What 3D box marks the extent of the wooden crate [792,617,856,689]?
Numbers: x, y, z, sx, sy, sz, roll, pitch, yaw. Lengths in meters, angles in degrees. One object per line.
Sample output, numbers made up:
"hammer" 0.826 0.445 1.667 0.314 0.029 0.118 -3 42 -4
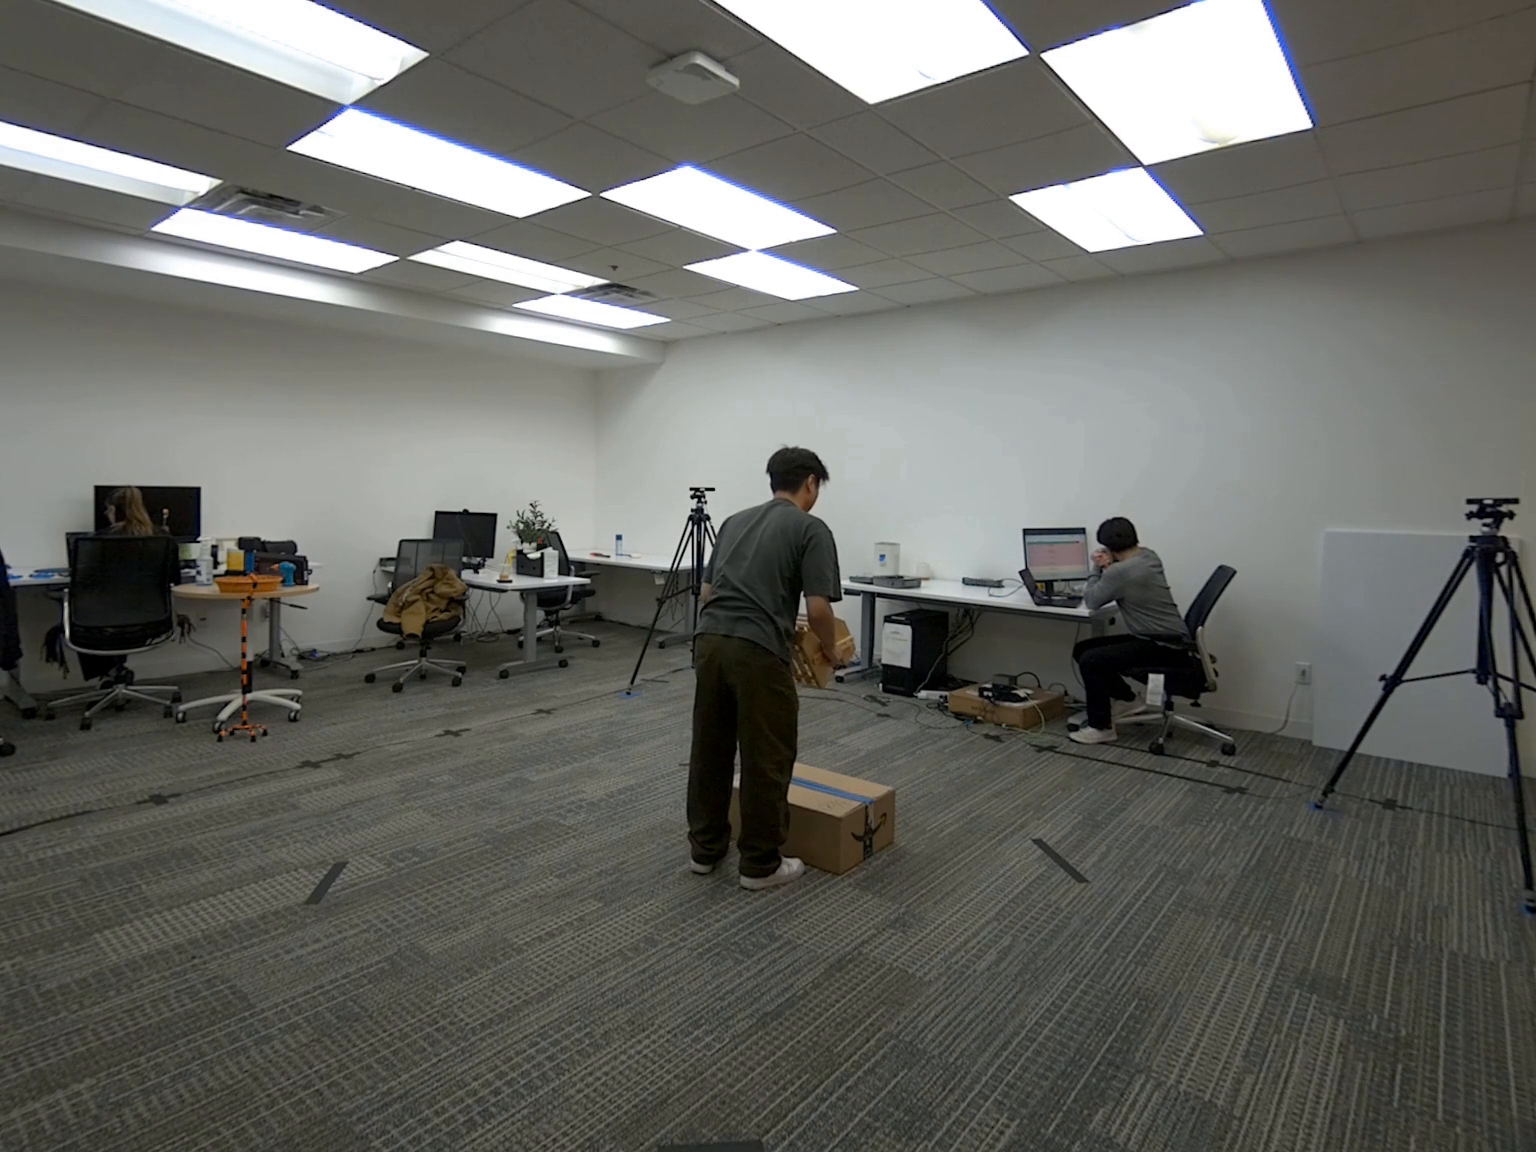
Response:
"wooden crate" 0.106 0.233 3.239 0.335 0.292 0.274 3 41 39
